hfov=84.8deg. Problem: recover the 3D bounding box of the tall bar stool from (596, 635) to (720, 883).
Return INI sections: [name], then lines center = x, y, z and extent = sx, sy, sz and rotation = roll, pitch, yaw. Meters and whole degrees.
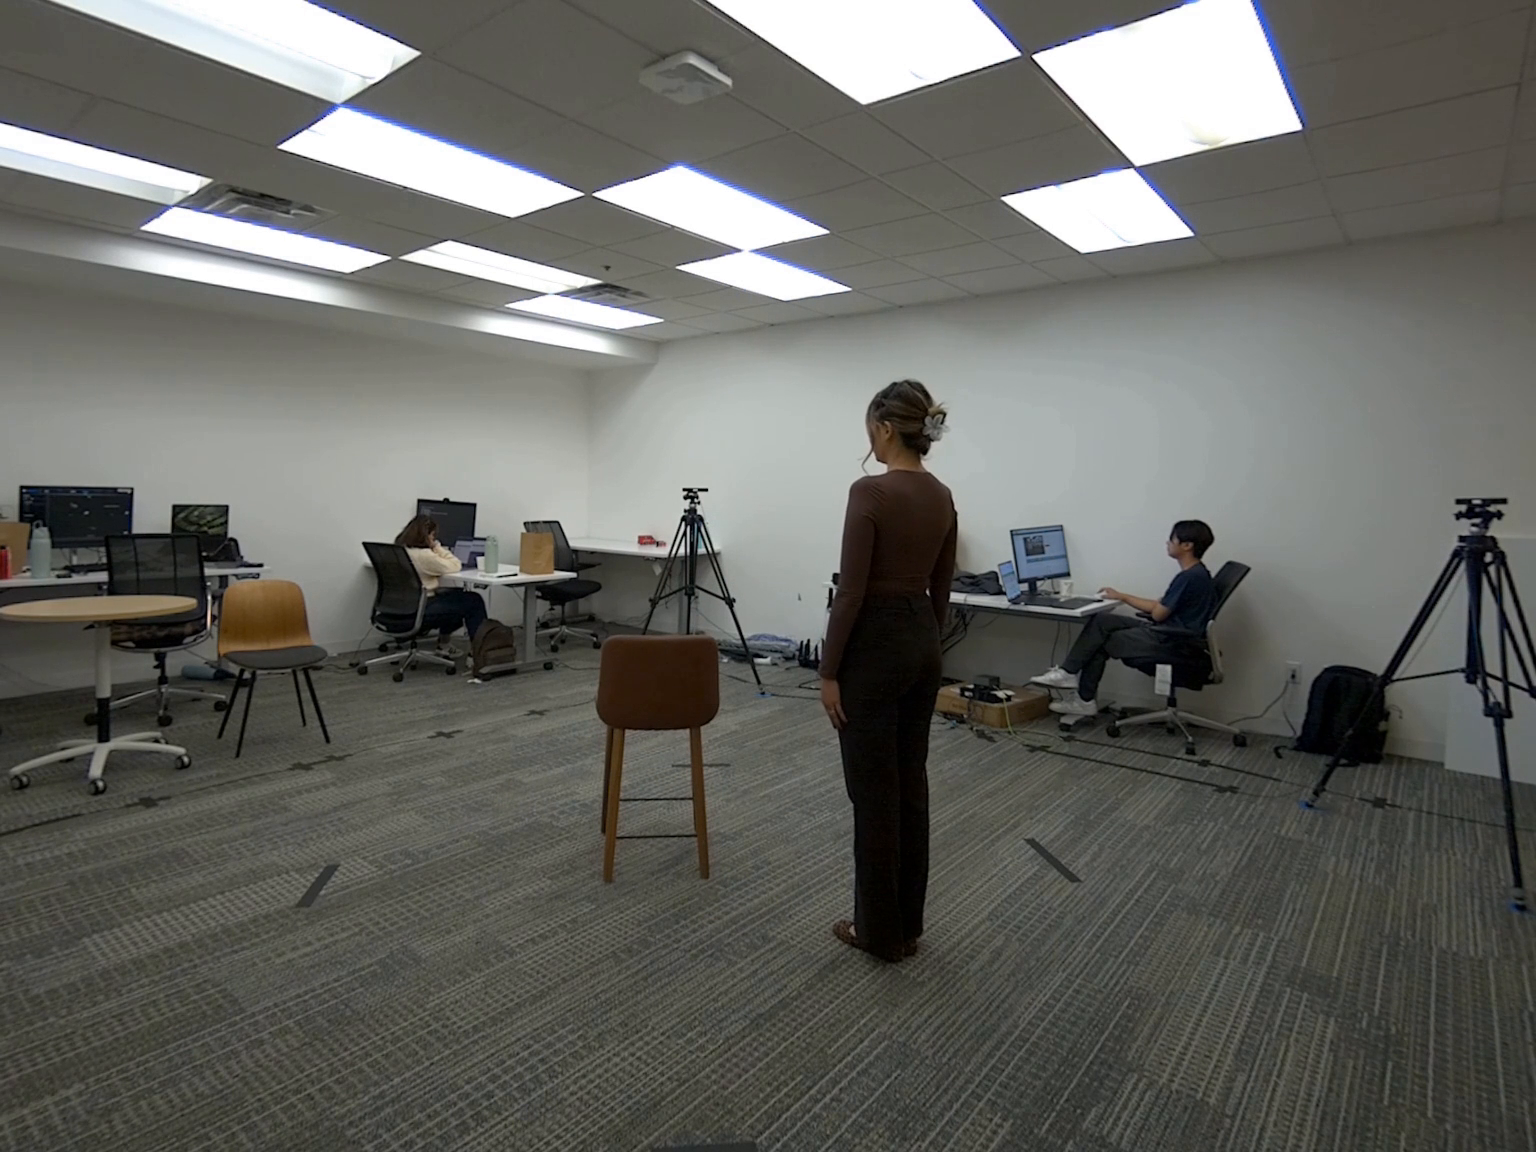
[tall bar stool]
center = -0.436, 0.622, 3.209
extent = 0.452, 0.886, 0.474
rotation = 0, 5, -9
